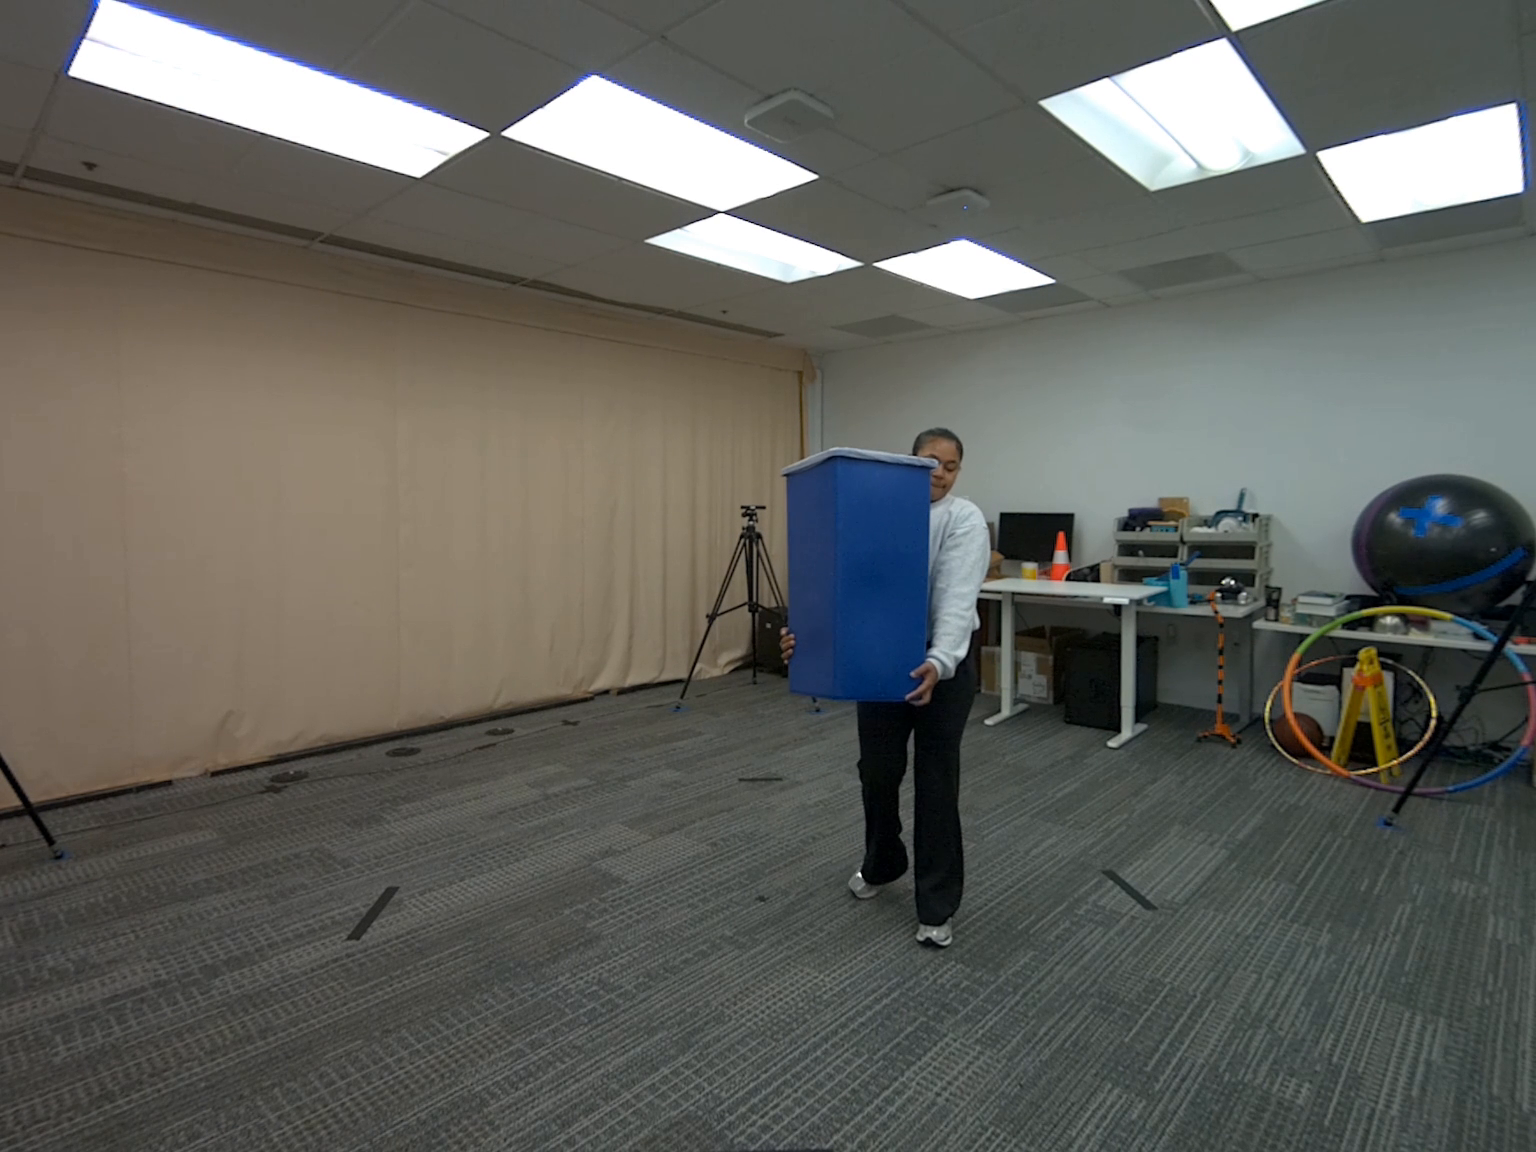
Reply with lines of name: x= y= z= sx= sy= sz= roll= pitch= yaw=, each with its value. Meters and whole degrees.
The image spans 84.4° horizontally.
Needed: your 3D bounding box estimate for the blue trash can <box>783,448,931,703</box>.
blue trash can: x=0.267 y=0.009 z=2.590 sx=0.368 sy=0.716 sz=0.382 roll=4 pitch=-6 yaw=-26
